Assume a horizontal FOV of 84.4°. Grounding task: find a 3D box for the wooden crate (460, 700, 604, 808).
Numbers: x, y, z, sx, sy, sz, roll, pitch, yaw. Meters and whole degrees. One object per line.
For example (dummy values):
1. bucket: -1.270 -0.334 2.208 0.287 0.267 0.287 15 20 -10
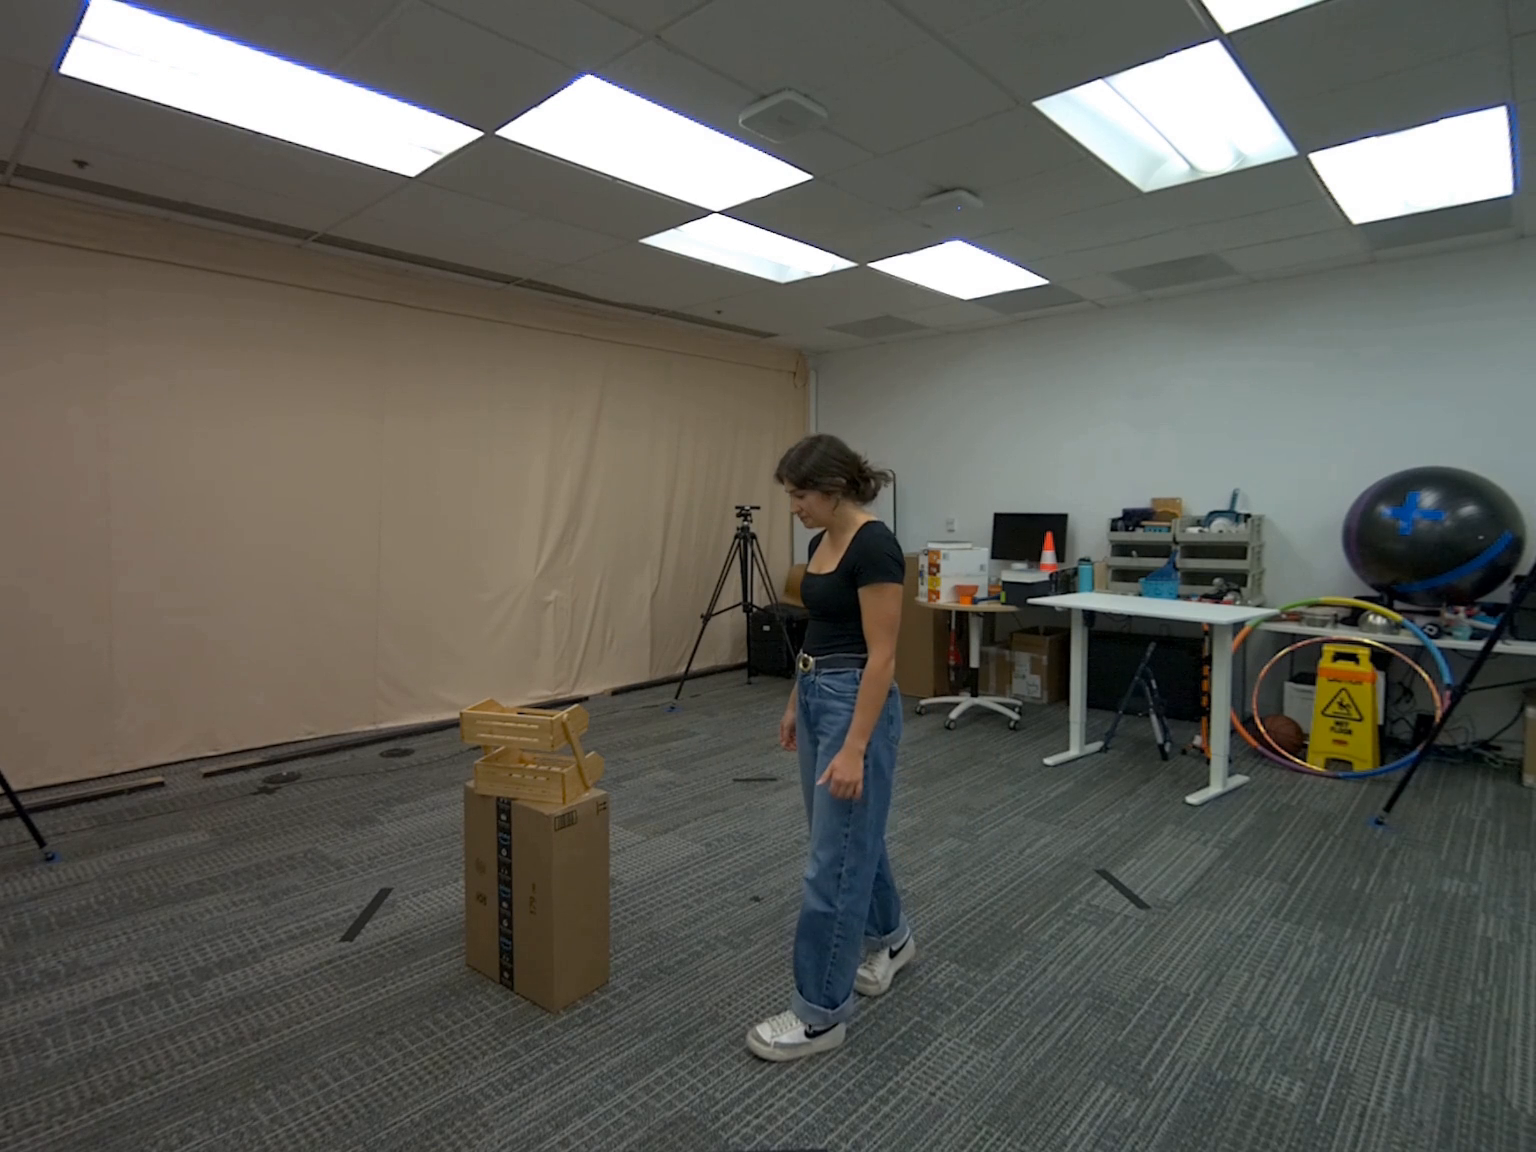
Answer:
1. wooden crate: -0.686 0.490 2.499 0.331 0.272 0.297 1 7 17
